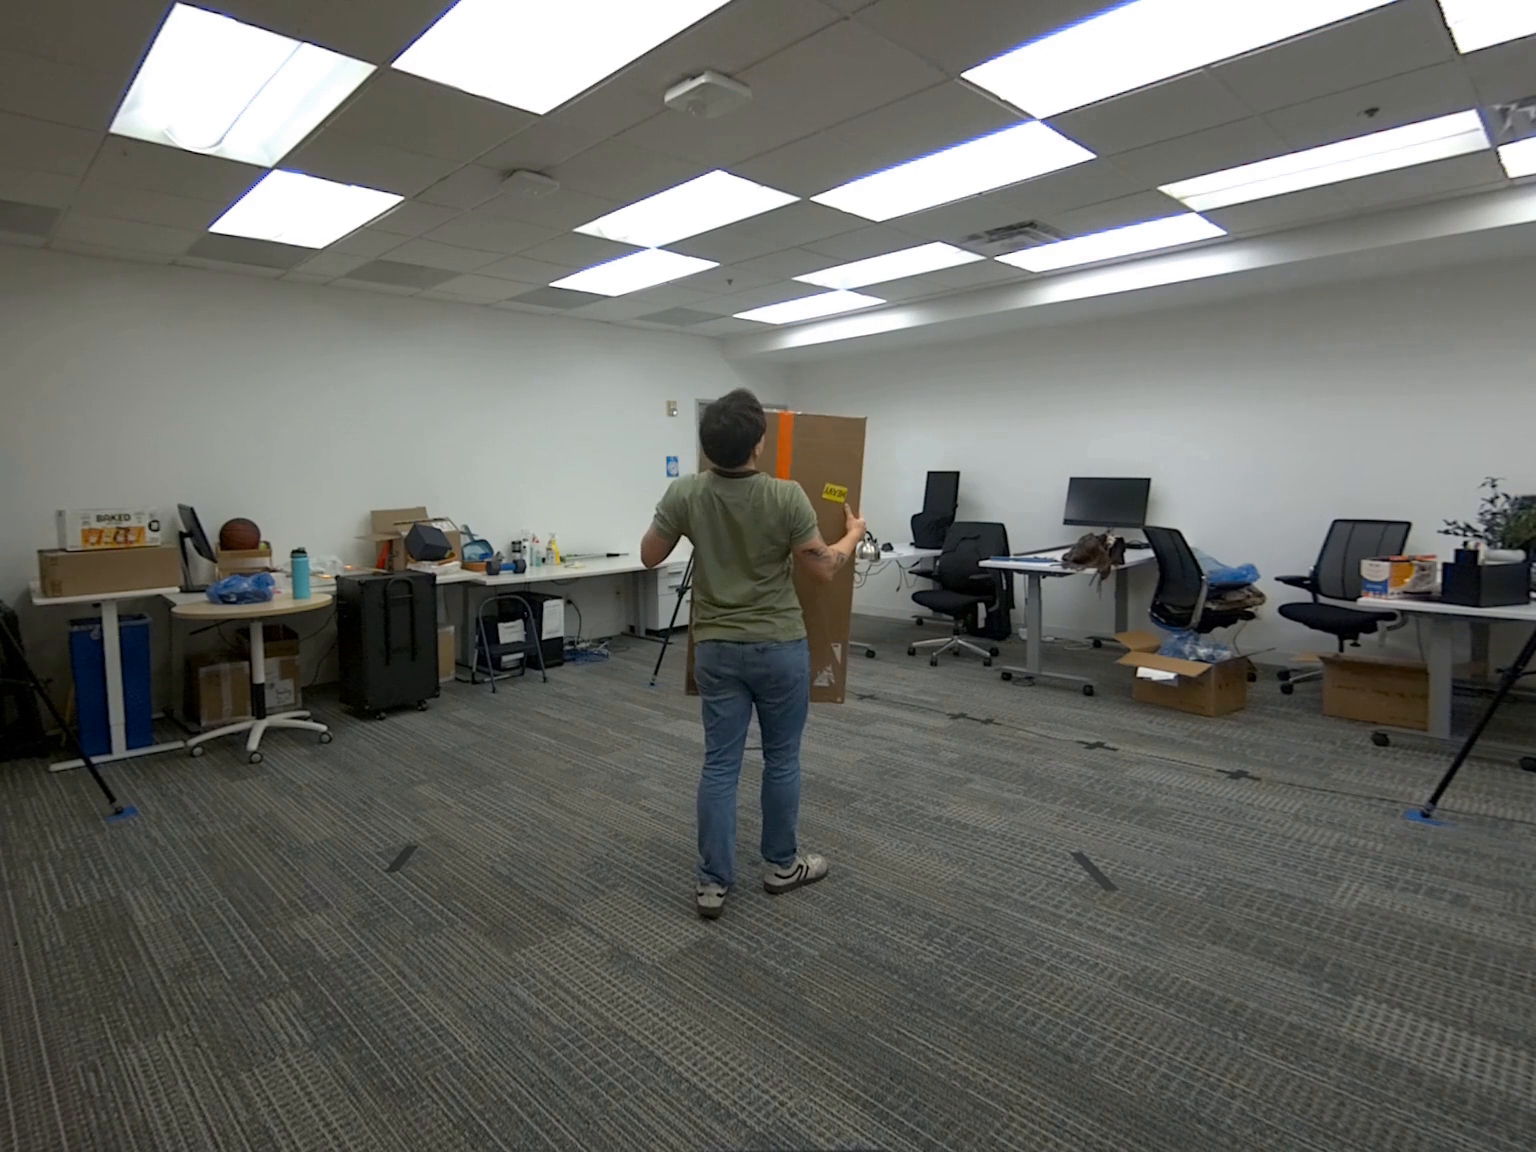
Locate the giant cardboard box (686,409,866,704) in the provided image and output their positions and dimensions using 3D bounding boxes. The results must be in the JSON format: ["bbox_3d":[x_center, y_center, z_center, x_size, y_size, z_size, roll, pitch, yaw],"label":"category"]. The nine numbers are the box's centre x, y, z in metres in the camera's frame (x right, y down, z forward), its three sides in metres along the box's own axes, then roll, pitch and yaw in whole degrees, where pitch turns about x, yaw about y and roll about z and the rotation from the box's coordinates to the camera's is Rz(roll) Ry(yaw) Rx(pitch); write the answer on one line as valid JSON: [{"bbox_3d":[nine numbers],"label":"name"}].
[{"bbox_3d":[0.011,-0.104,3.204,0.578,1.020,0.429,4,7,0],"label":"giant cardboard box"}]
